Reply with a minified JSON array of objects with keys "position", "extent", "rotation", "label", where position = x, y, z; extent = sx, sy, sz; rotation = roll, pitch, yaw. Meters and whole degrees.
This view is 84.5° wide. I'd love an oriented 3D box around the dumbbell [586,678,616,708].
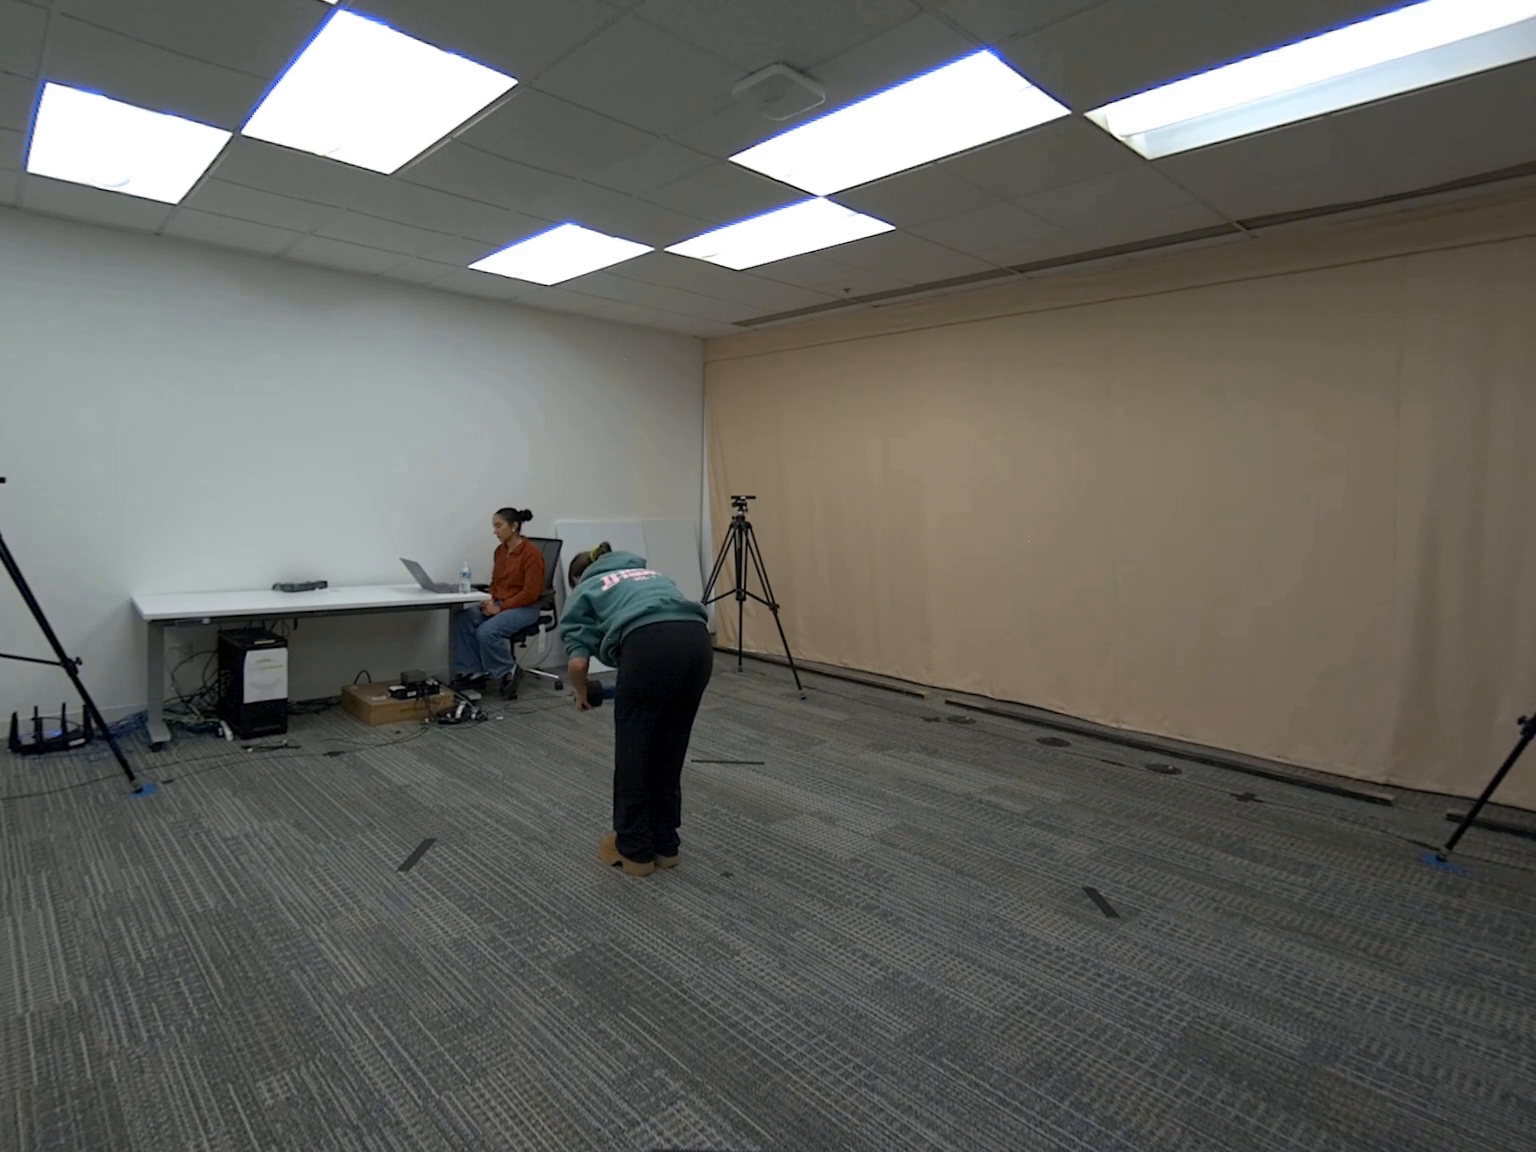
[{"position":[-0.637,0.468,3.404],"extent":[0.286,0.122,0.112],"rotation":[0,19,-42],"label":"dumbbell"}]
